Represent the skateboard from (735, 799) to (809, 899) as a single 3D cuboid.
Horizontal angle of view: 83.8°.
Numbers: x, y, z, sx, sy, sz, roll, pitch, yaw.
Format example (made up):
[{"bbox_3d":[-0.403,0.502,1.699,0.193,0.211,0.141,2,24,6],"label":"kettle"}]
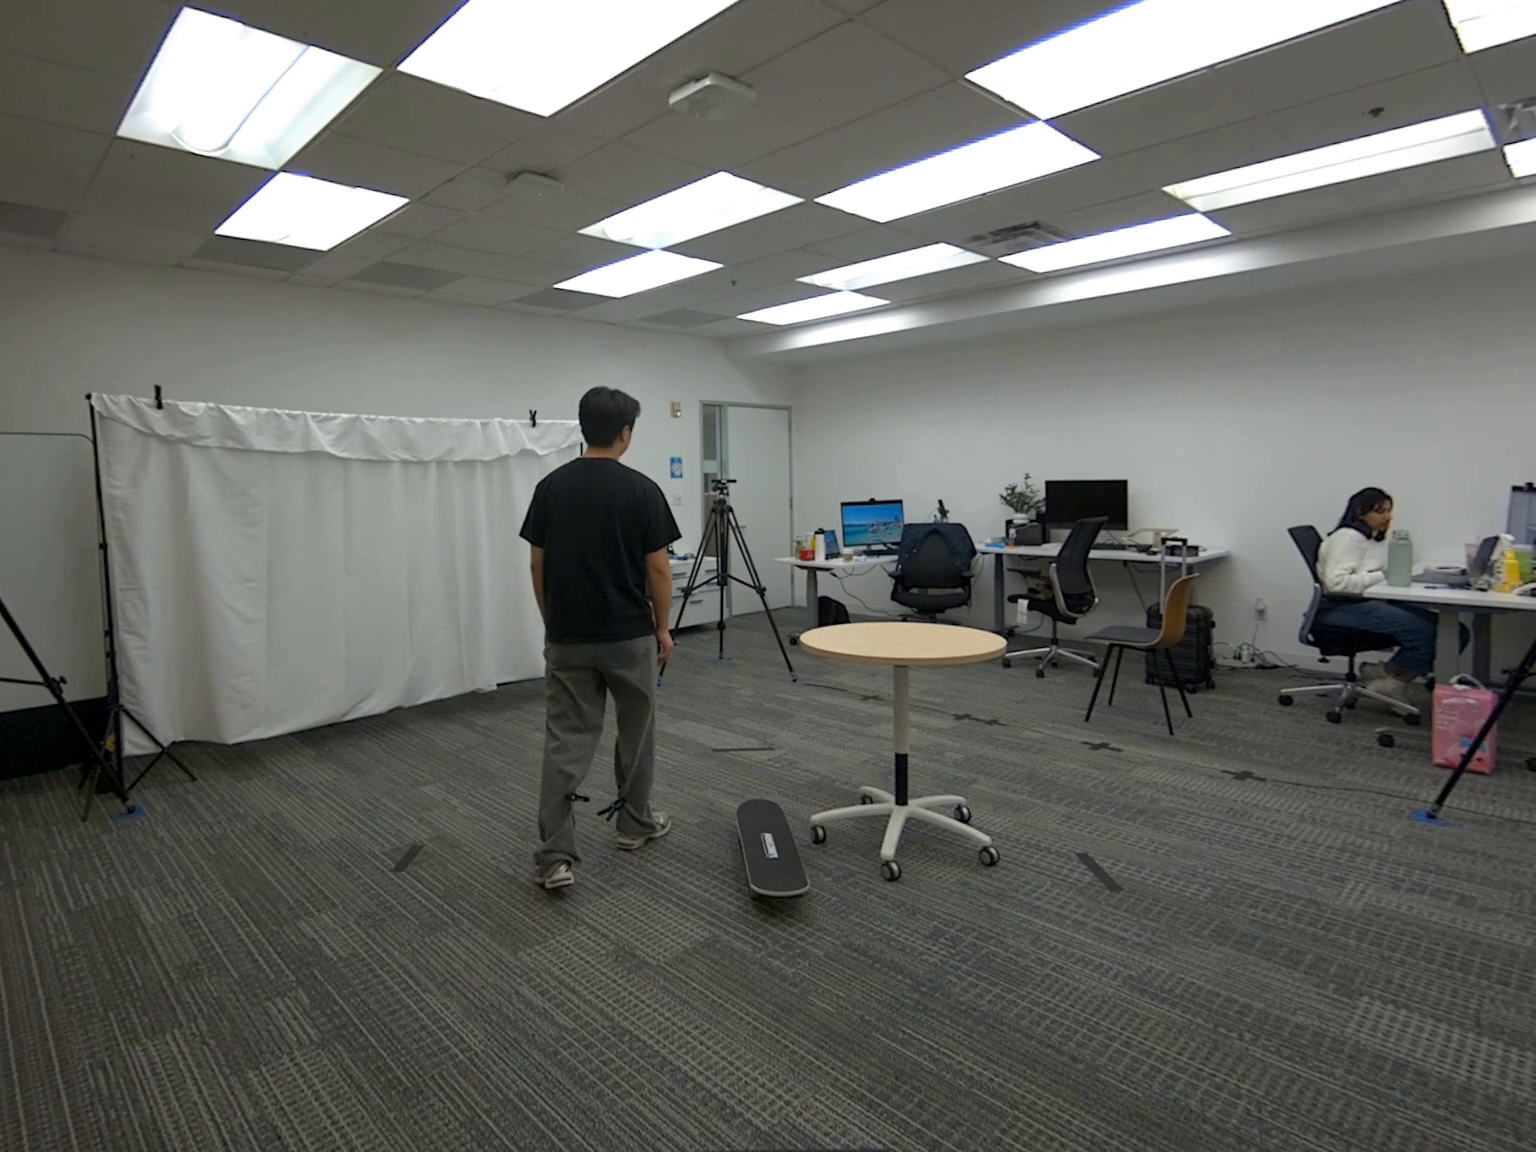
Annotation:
[{"bbox_3d":[0.007,0.992,3.054,0.192,0.110,0.793,-1,6,-7],"label":"skateboard"}]
